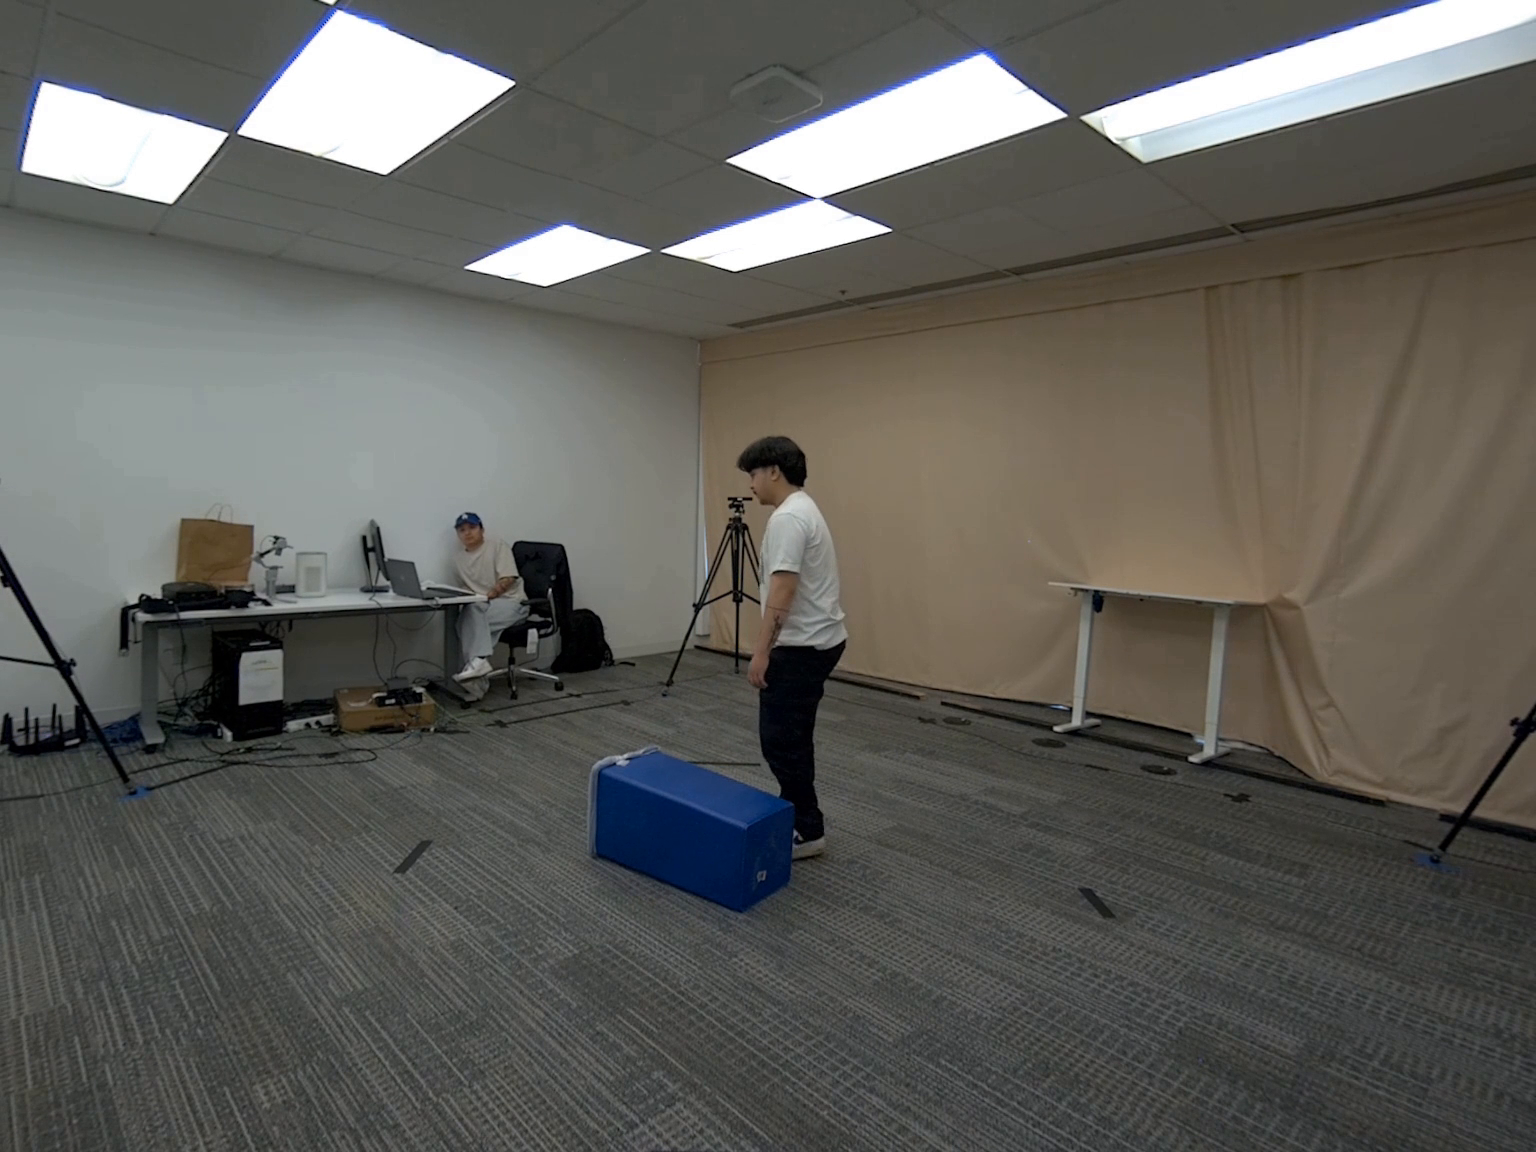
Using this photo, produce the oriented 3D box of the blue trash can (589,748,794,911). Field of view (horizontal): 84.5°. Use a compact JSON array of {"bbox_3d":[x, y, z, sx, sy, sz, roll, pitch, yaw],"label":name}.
[{"bbox_3d":[-0.299,0.938,3.136,0.732,0.373,0.369,9,7,37],"label":"blue trash can"}]
